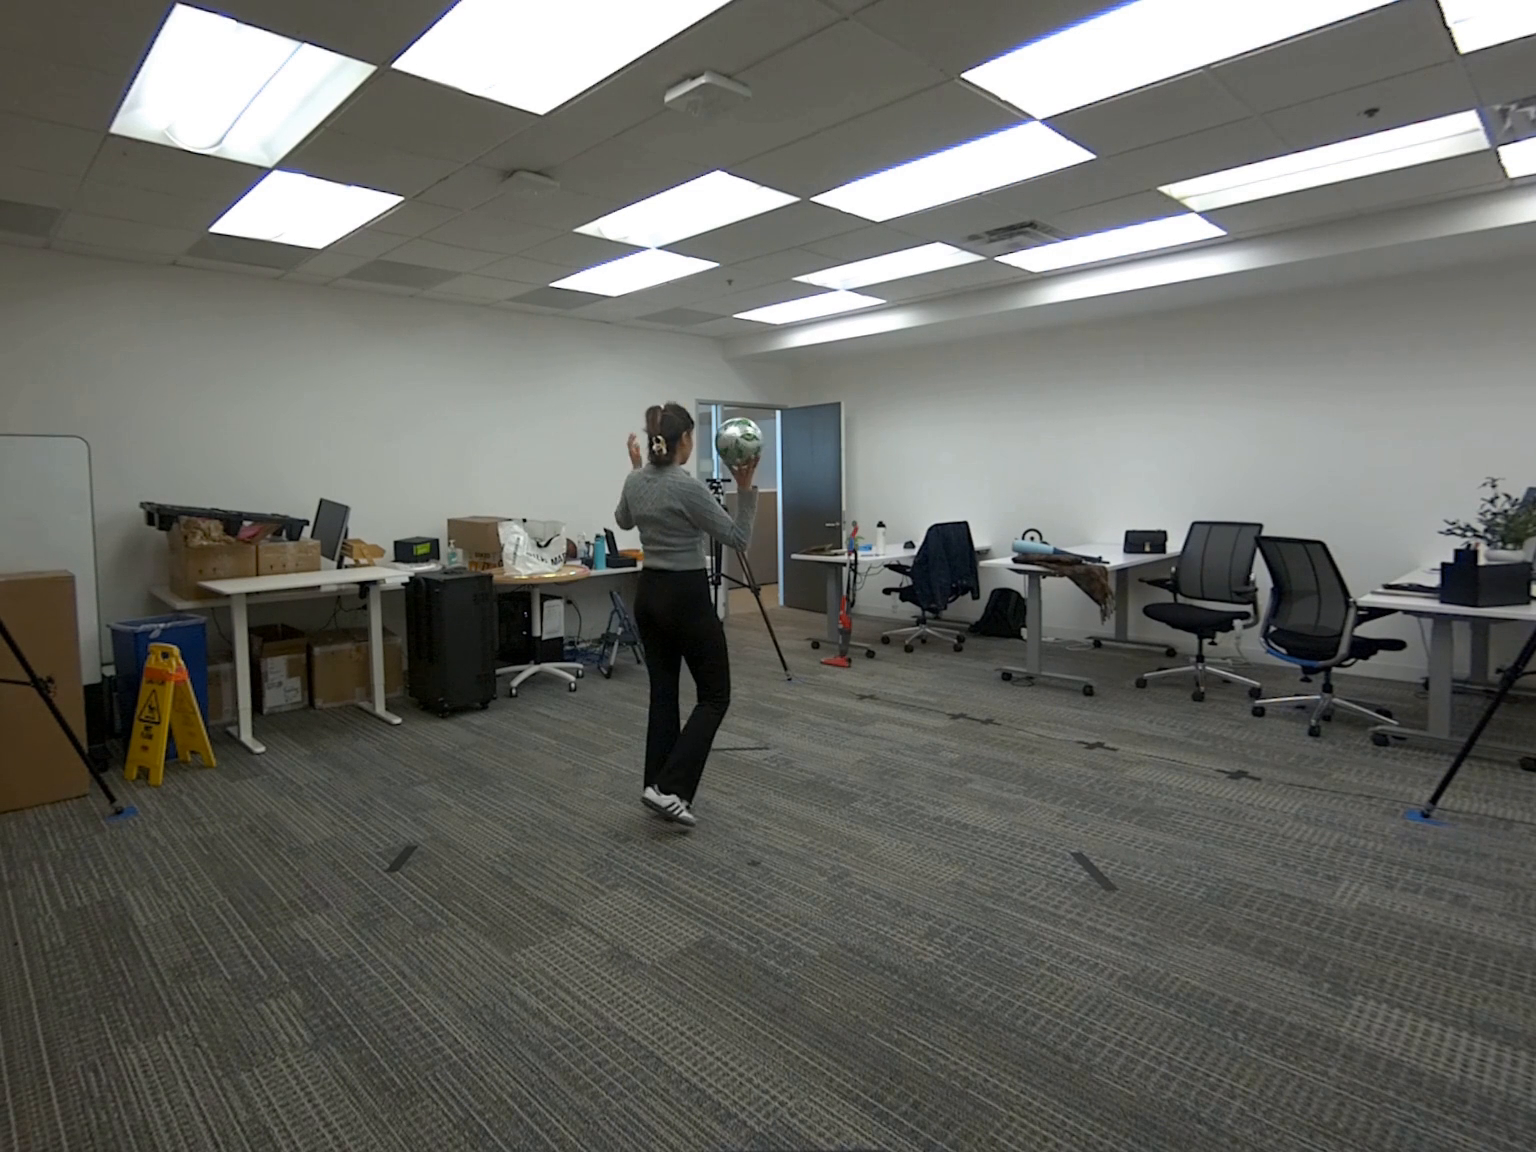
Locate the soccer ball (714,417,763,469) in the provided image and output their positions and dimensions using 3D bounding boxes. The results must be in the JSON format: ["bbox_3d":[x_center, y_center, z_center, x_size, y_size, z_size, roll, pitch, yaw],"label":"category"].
[{"bbox_3d":[-0.119,-0.512,3.293,0.187,0.187,0.188,-1,5,-2],"label":"soccer ball"}]
